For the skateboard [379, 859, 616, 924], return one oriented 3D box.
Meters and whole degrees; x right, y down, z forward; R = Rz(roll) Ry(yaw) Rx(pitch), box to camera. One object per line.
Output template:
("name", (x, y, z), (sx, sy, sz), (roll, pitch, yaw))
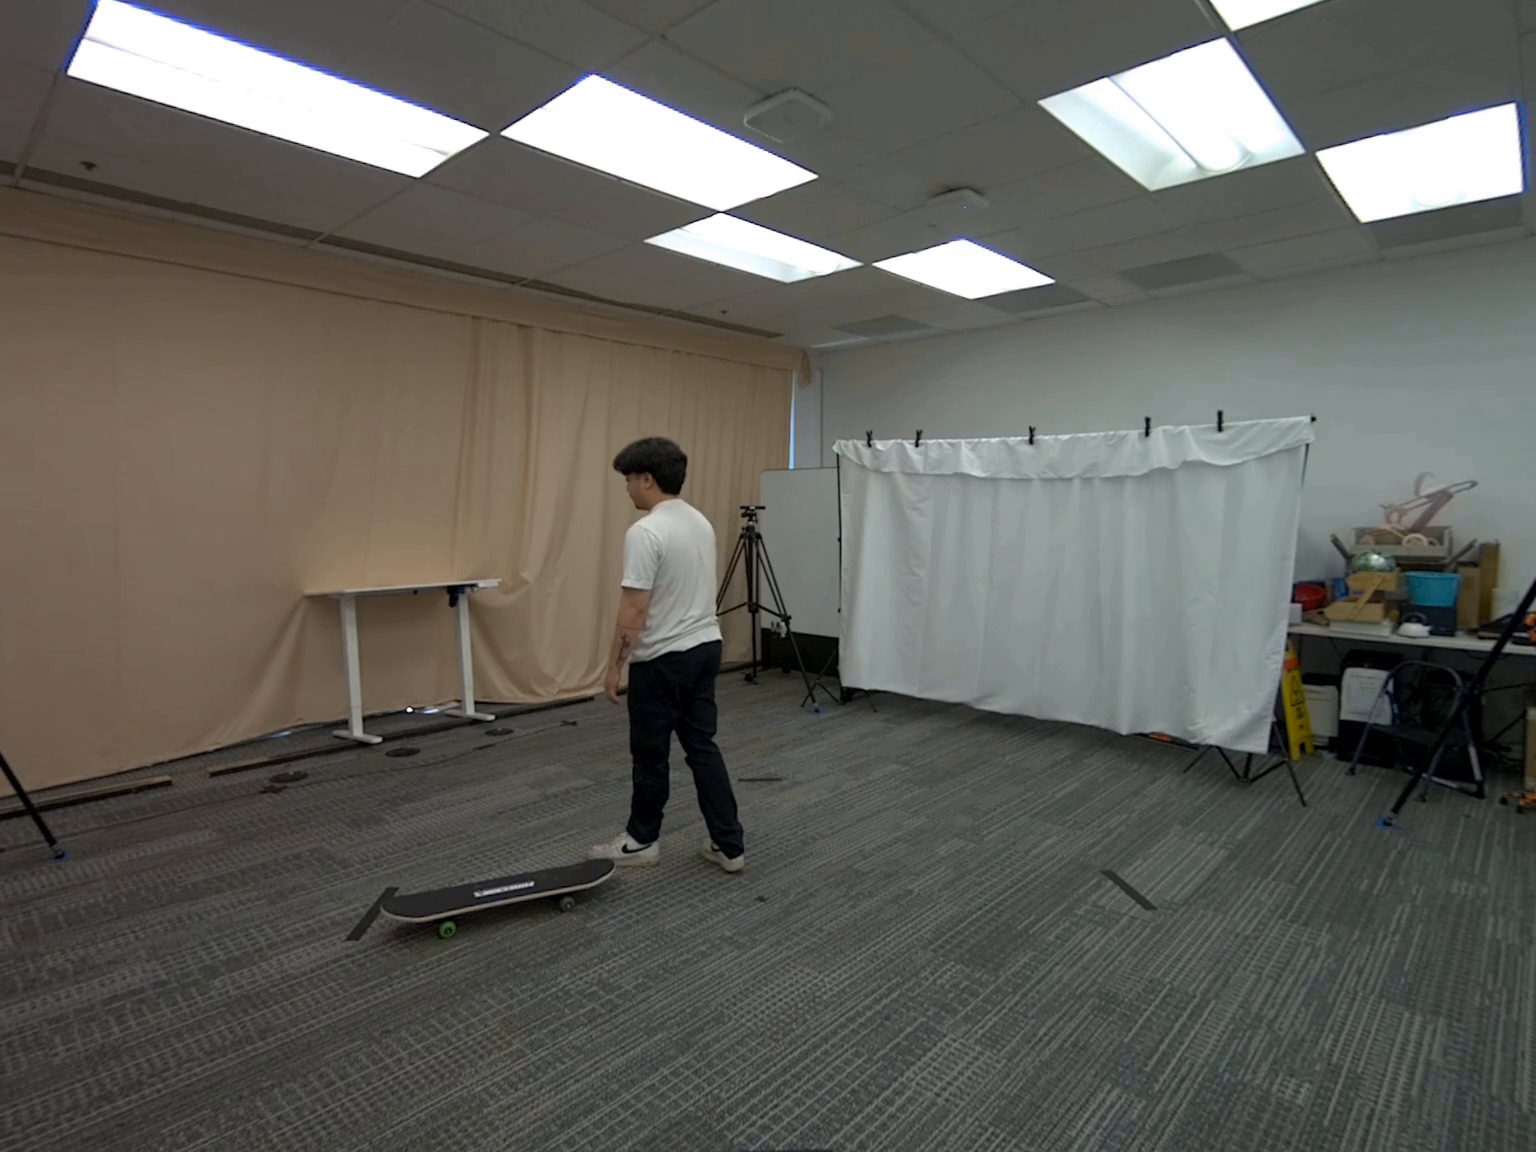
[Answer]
("skateboard", (-0.903, 1.106, 2.880), (0.767, 0.110, 0.198), (-3, 4, -25))
